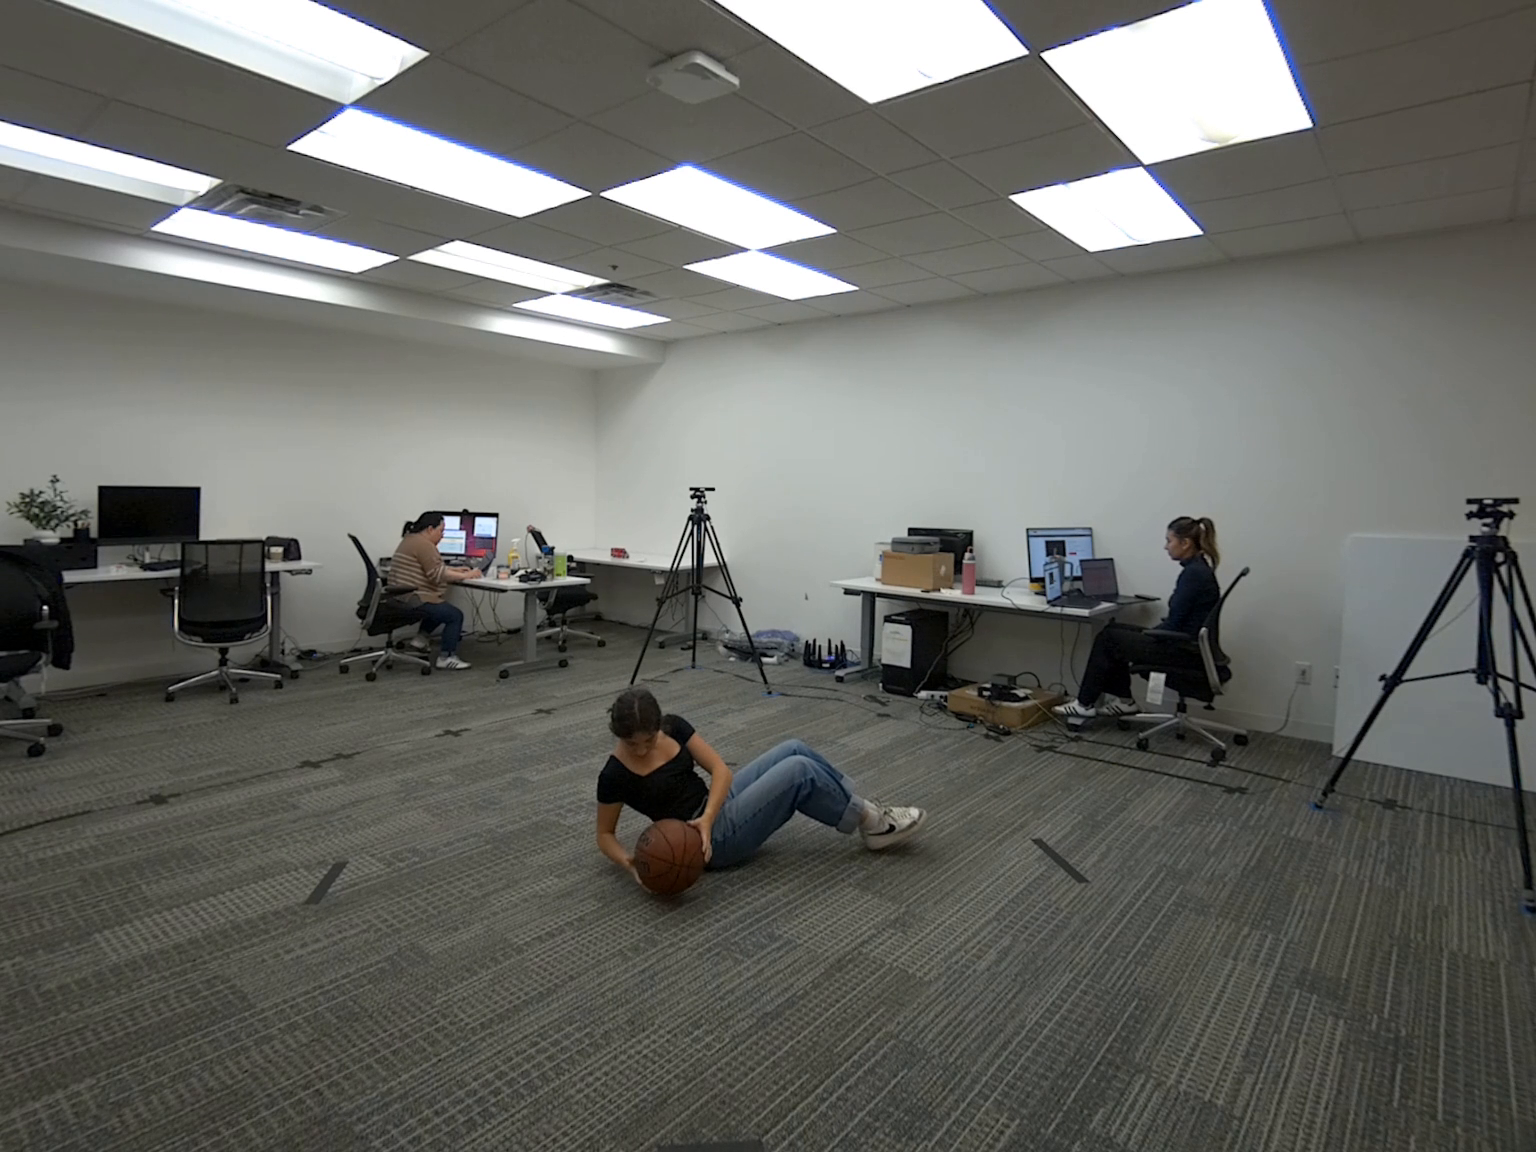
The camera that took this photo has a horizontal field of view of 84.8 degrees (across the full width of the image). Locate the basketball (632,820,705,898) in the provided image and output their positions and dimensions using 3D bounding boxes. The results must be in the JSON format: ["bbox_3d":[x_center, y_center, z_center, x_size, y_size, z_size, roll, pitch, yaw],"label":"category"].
[{"bbox_3d":[-0.339,0.930,2.871,0.235,0.235,0.237,1,4,-2],"label":"basketball"}]
